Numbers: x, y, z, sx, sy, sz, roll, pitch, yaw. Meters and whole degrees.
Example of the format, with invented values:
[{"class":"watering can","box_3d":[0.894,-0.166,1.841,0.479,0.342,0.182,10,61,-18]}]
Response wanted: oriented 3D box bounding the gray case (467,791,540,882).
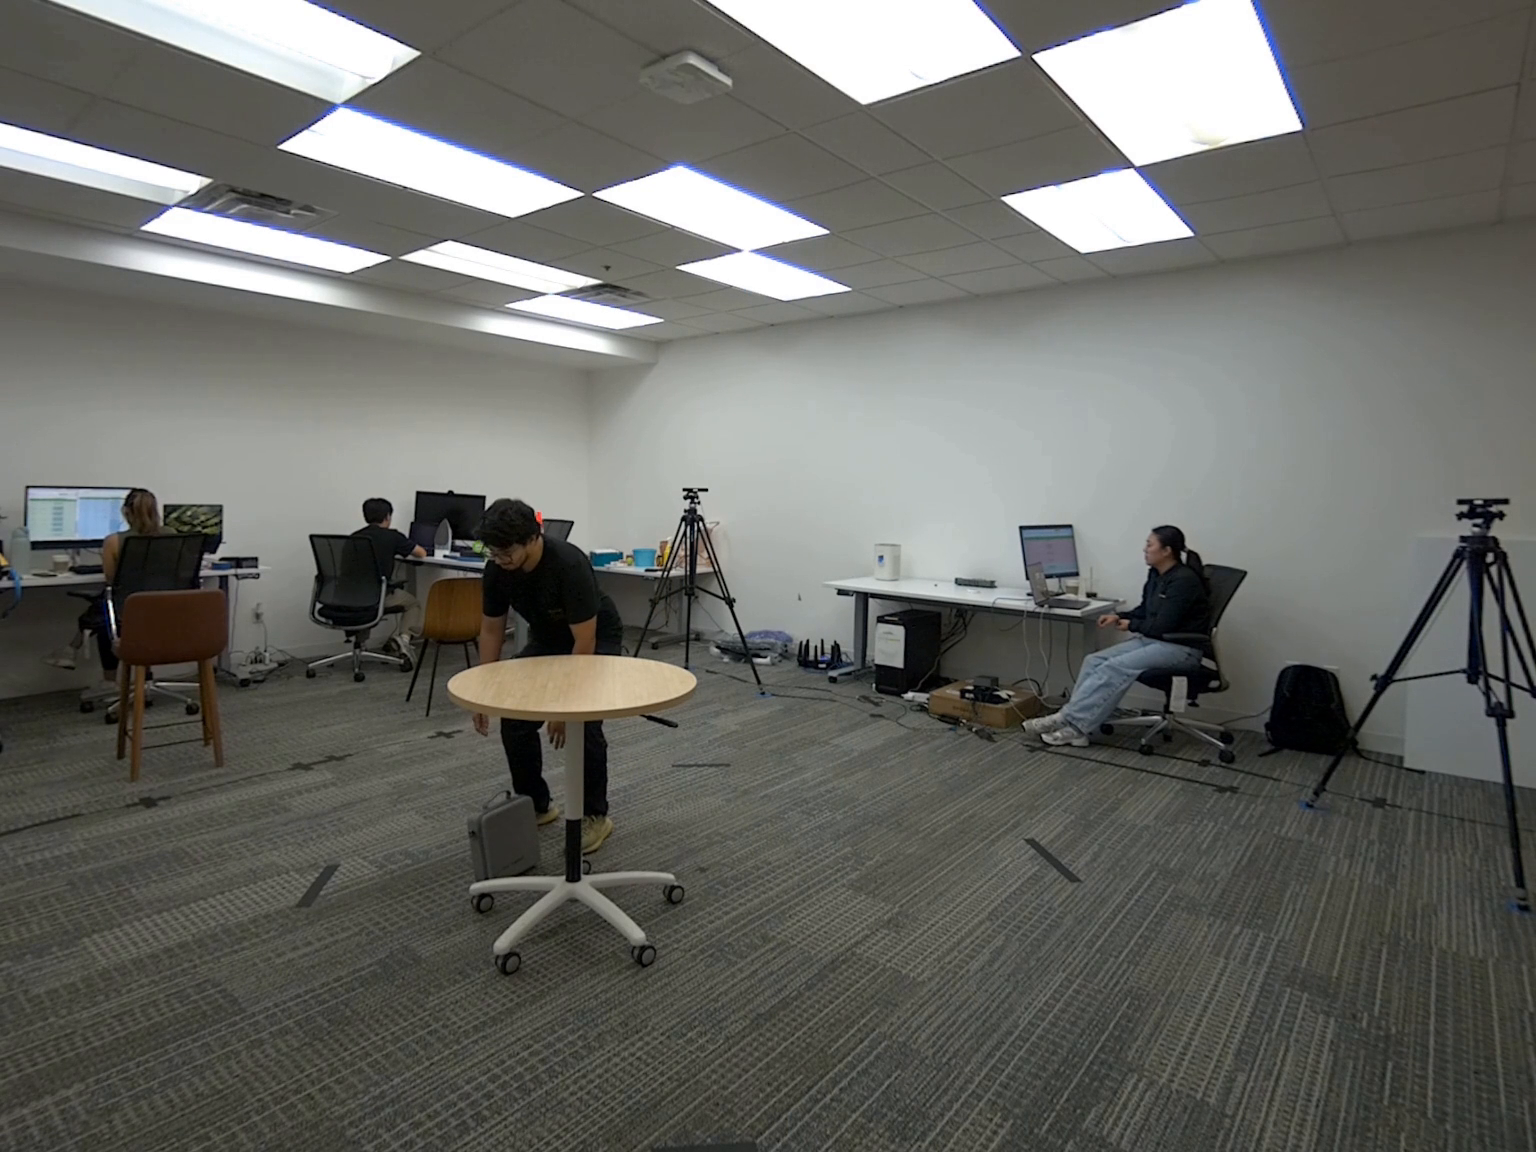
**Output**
[{"class":"gray case","box_3d":[-0.953,0.937,3.032,0.107,0.261,0.251,-8,0,29]}]
